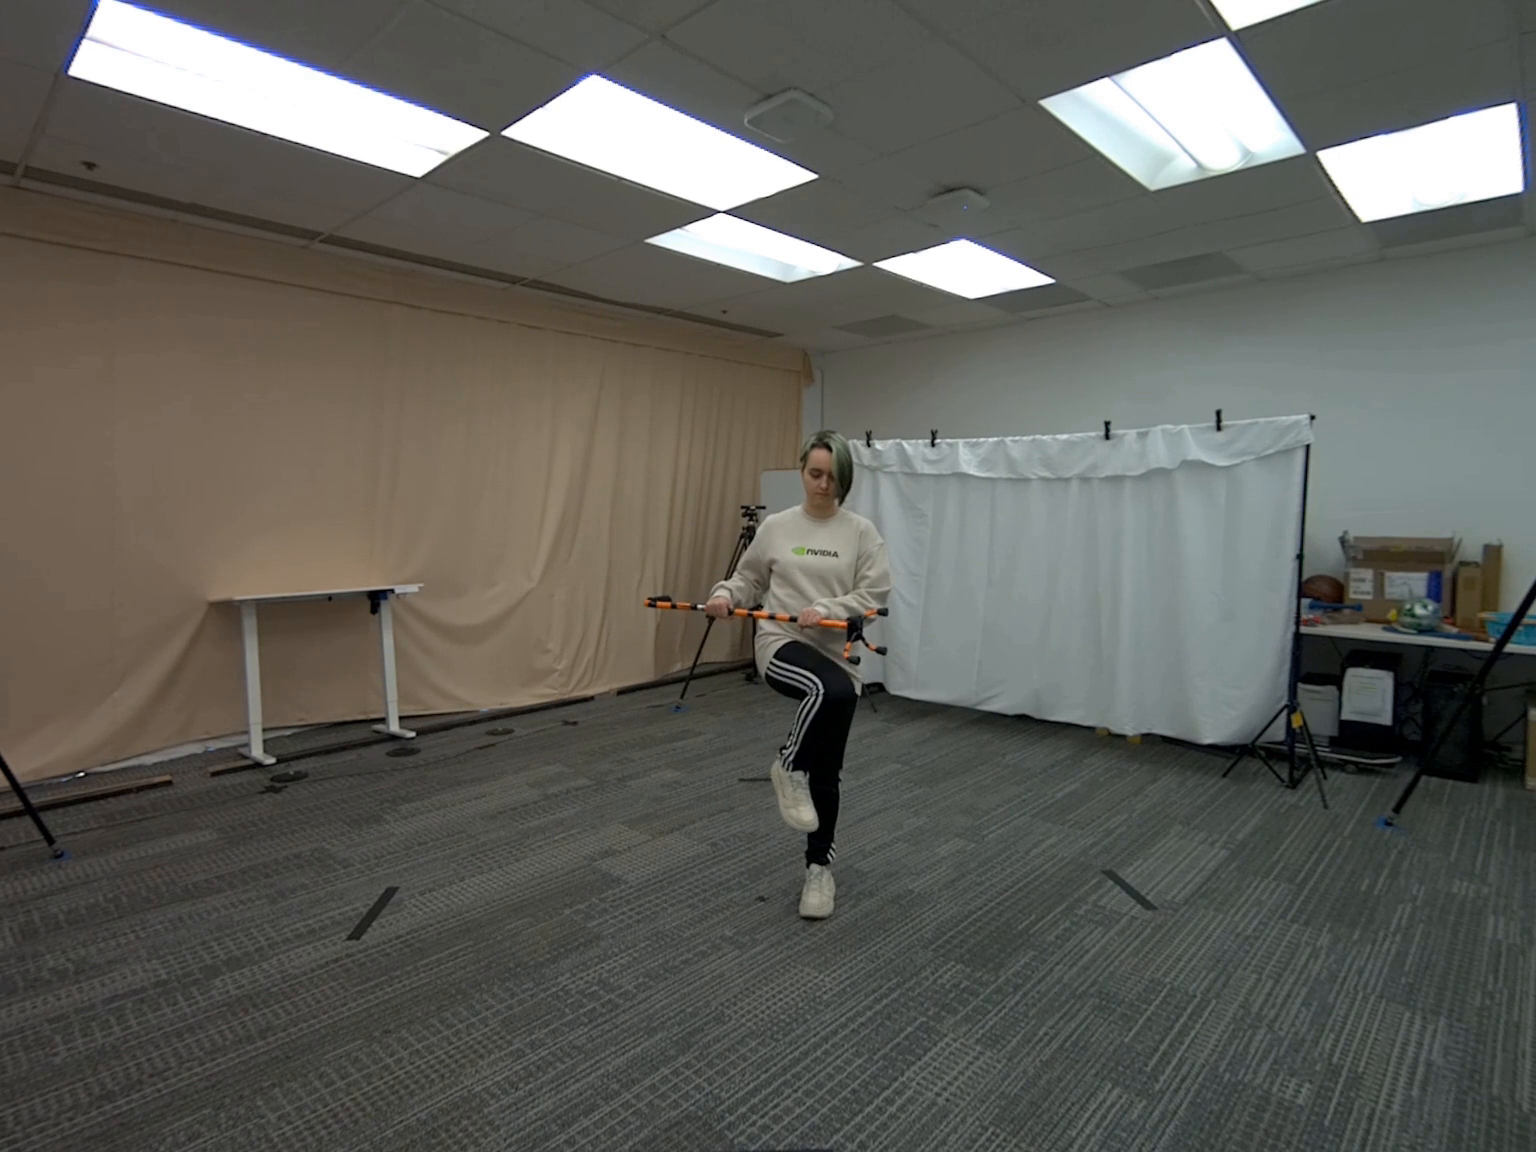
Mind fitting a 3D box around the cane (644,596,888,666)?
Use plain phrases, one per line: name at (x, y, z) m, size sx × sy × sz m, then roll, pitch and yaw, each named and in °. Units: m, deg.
cane at (-0.064, 0.152, 2.783) m, size 0.937 × 0.151 × 0.200 m, roll 4°, pitch 7°, yaw 36°
